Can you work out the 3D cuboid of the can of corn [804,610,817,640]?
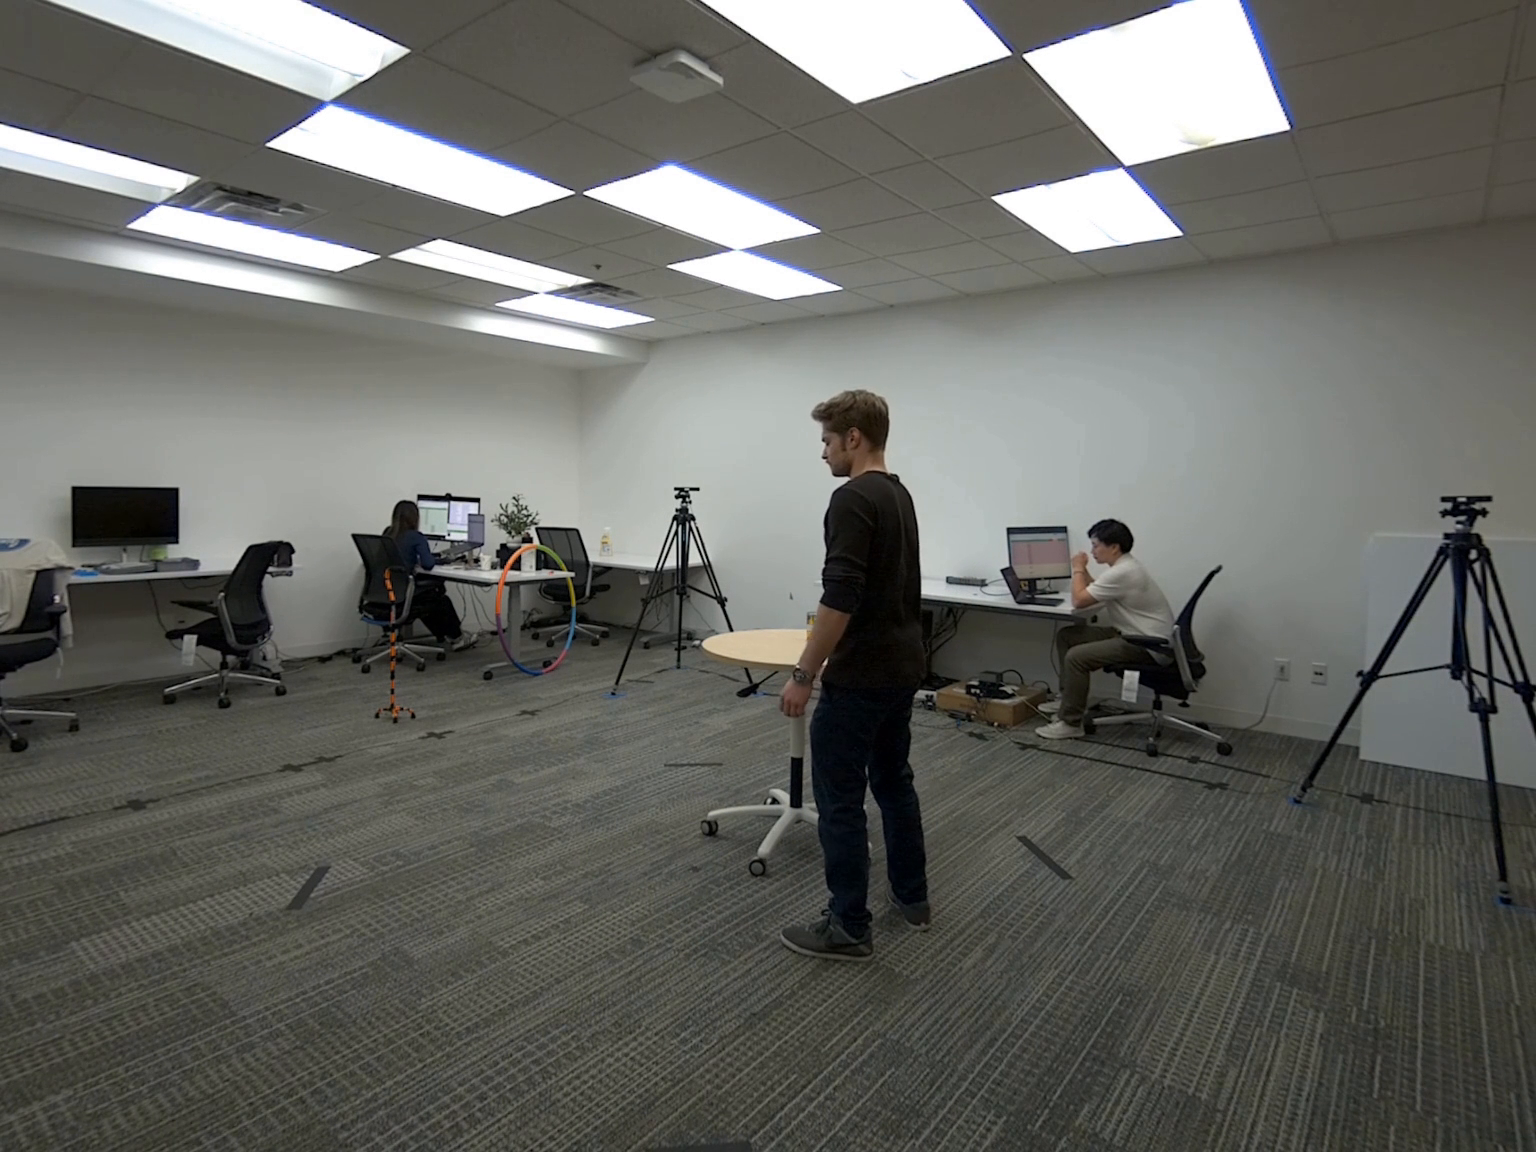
[{"bbox_3d":[0.190,0.200,3.422,0.074,0.111,0.074,4,4,-2],"label":"can of corn"}]
